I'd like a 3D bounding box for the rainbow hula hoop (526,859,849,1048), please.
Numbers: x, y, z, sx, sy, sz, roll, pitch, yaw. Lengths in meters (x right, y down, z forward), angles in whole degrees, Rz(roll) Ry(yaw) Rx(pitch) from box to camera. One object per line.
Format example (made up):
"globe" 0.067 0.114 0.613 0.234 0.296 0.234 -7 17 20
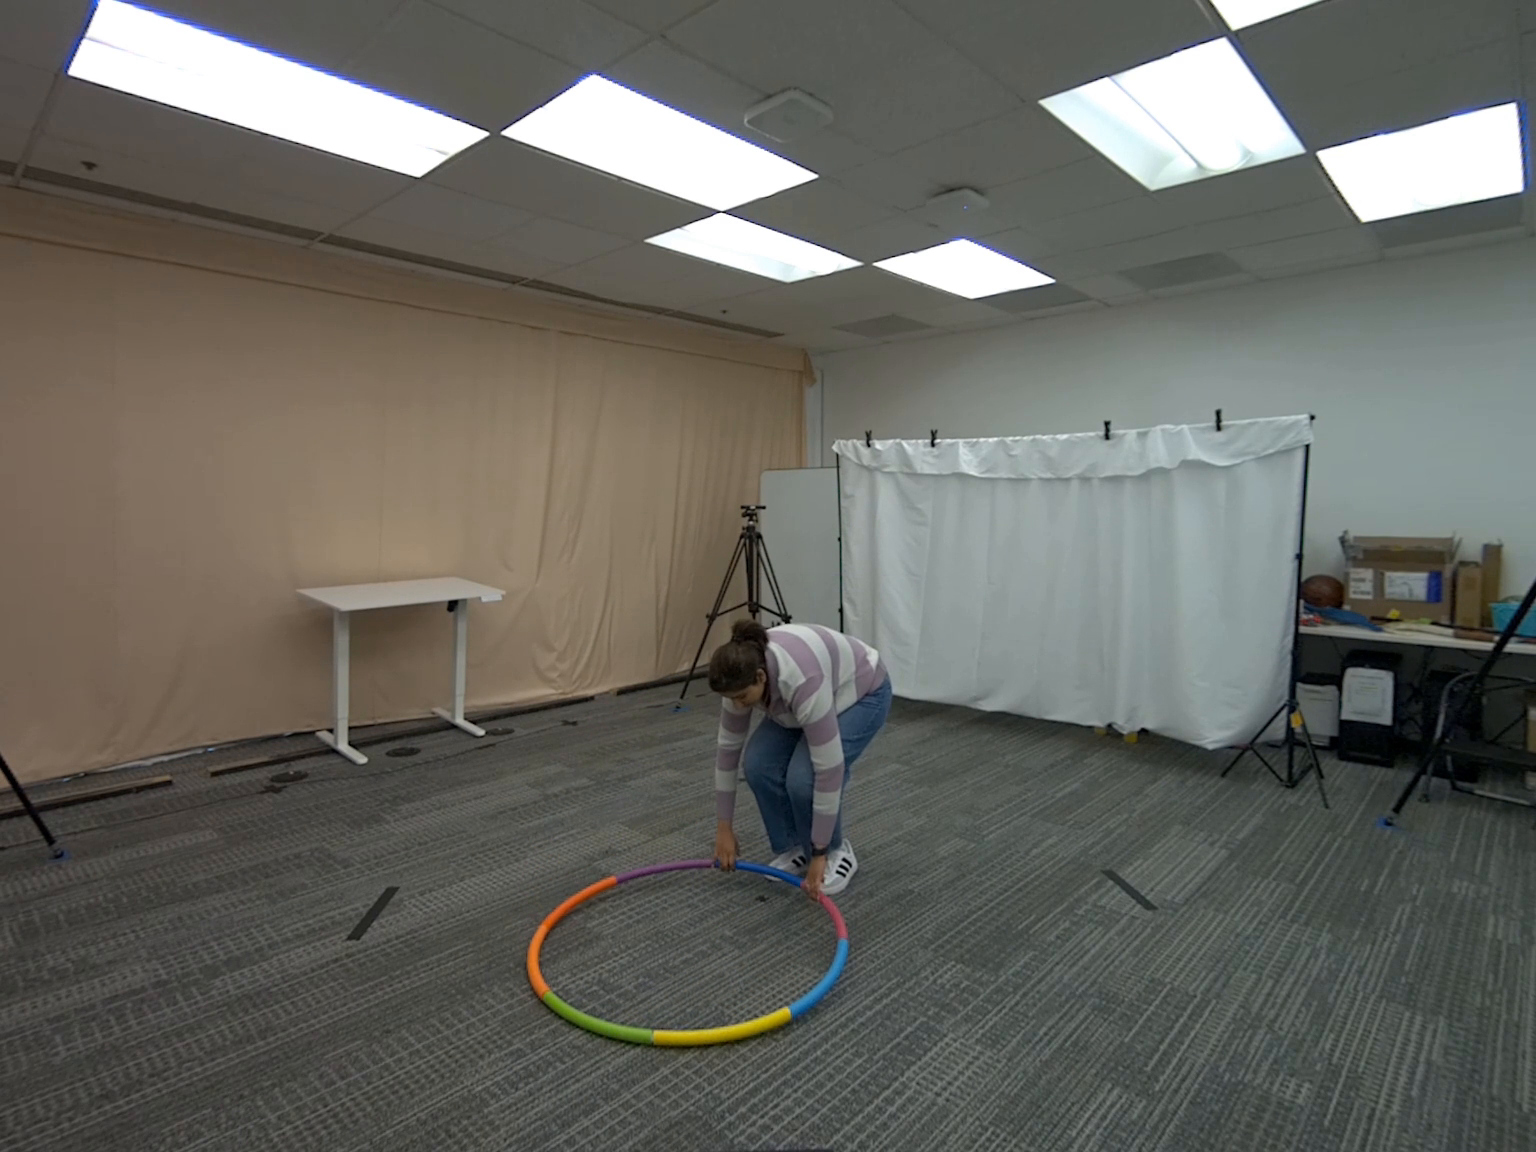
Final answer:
"rainbow hula hoop" -0.250 1.118 2.640 0.978 0.035 0.984 -3 7 -2
